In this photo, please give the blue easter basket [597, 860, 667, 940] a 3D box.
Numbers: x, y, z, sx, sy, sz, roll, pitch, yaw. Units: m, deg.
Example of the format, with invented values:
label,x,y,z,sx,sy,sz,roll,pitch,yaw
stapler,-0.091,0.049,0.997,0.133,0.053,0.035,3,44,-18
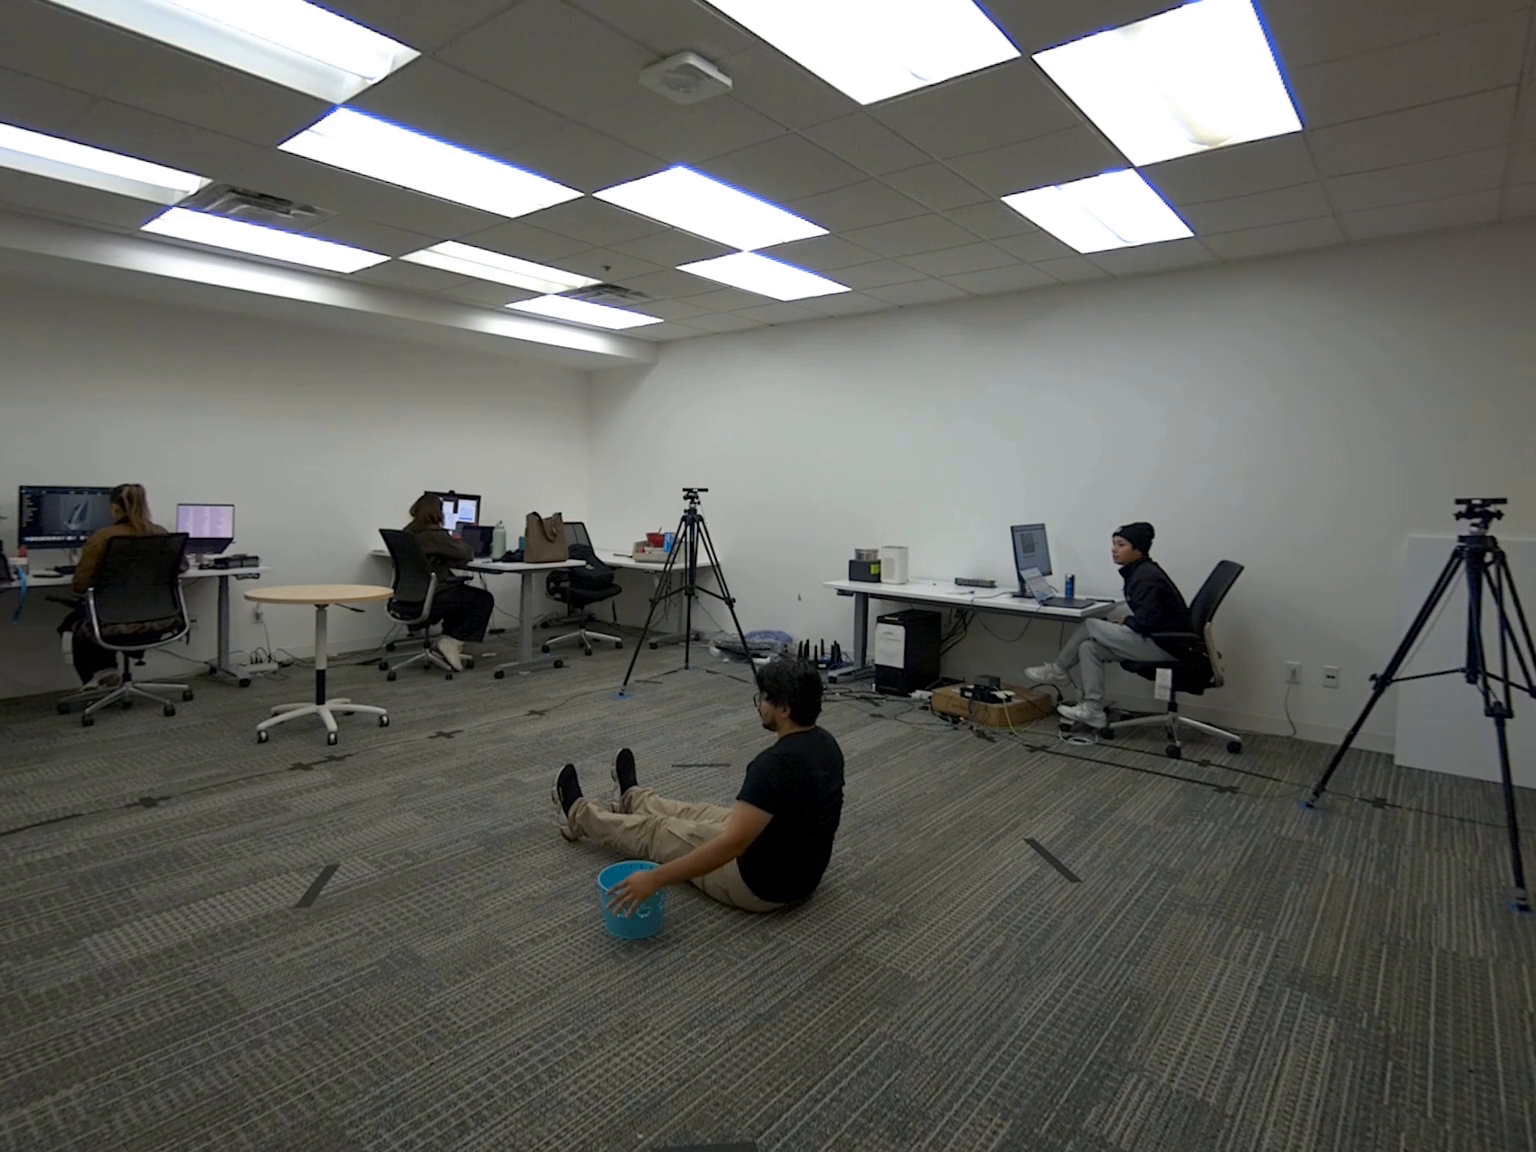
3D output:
label,x,y,z,sx,sy,sz,roll,pitch,yaw
blue easter basket,-0.431,1.024,2.708,0.243,0.155,0.245,-1,6,-2
